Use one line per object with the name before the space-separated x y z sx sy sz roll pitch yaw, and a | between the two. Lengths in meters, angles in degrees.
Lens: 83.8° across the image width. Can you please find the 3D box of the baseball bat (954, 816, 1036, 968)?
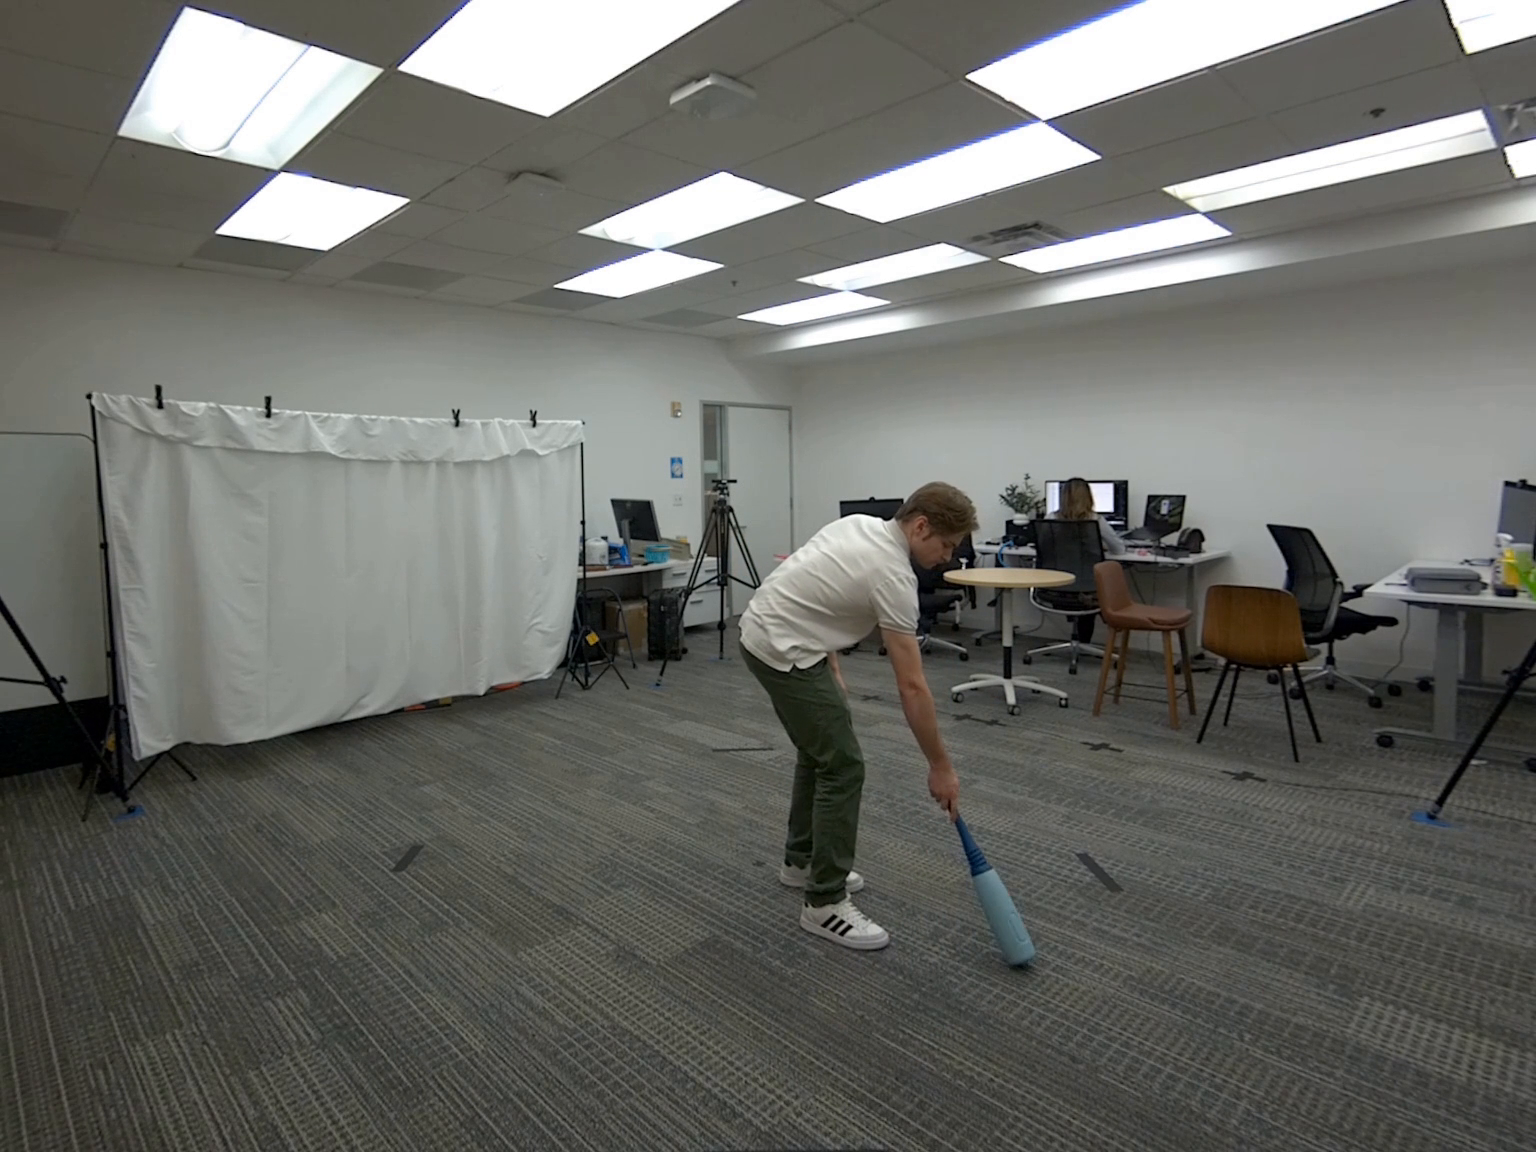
baseball bat | 0.628 0.864 2.534 0.088 0.559 0.087 -17 -27 -10
